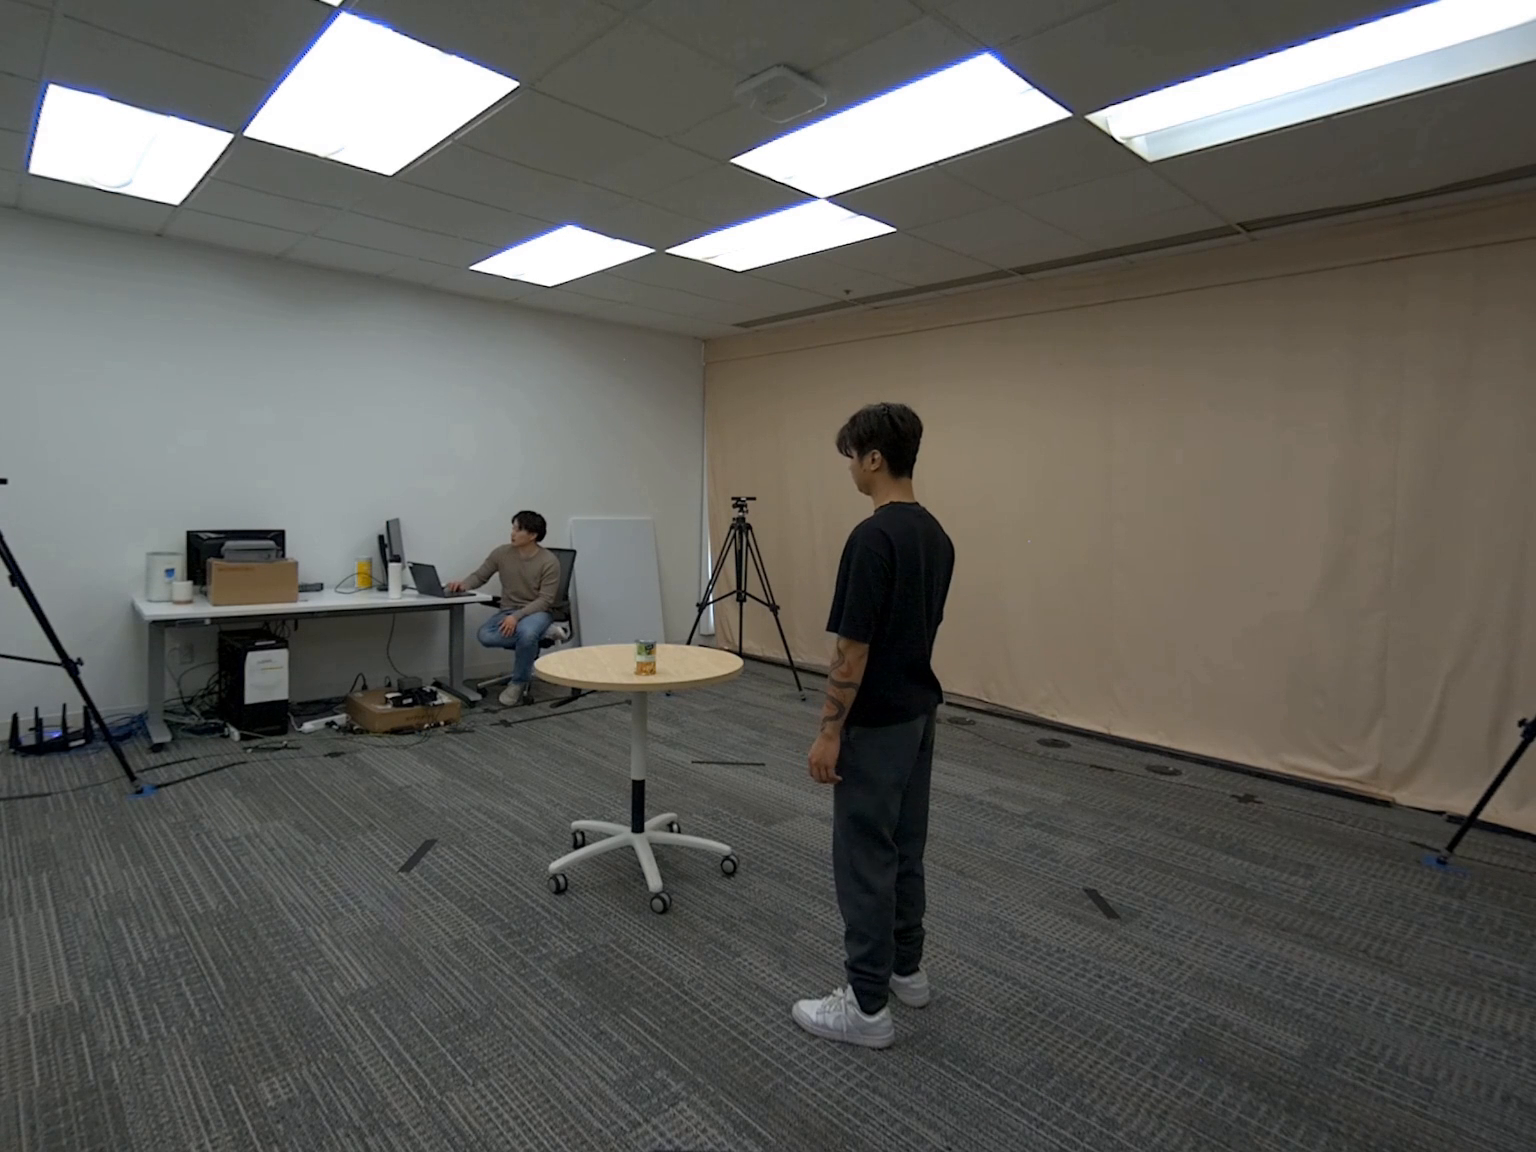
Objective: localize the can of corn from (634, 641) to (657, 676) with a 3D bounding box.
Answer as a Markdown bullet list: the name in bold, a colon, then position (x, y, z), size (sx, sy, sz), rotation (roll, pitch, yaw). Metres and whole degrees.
- **can of corn**: position (-0.429, 0.281, 2.889), size (0.074, 0.111, 0.074), rotation (1, 3, -1)
